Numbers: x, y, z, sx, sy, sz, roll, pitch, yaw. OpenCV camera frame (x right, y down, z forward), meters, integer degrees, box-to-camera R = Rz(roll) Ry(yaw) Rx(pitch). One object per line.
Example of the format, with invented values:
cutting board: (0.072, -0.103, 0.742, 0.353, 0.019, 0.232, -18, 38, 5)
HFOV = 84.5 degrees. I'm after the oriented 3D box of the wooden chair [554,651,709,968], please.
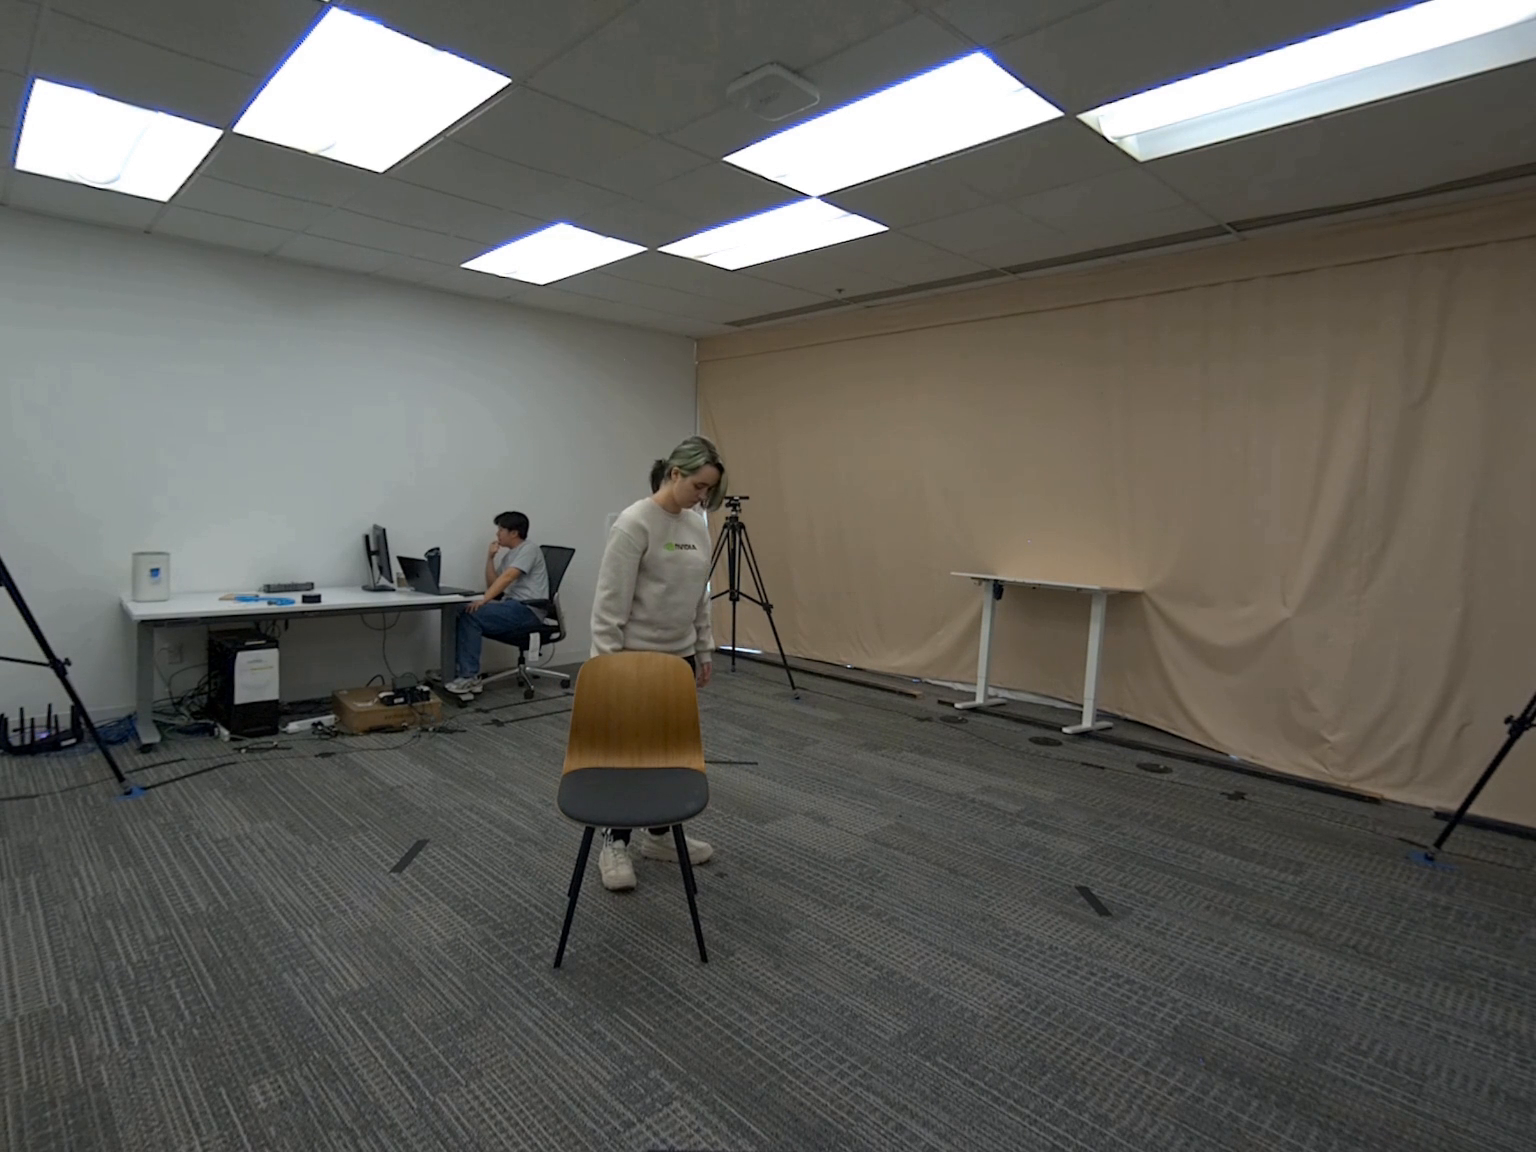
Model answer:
wooden chair: (-0.422, 0.711, 2.666, 0.475, 0.878, 0.526, 2, -1, -9)
